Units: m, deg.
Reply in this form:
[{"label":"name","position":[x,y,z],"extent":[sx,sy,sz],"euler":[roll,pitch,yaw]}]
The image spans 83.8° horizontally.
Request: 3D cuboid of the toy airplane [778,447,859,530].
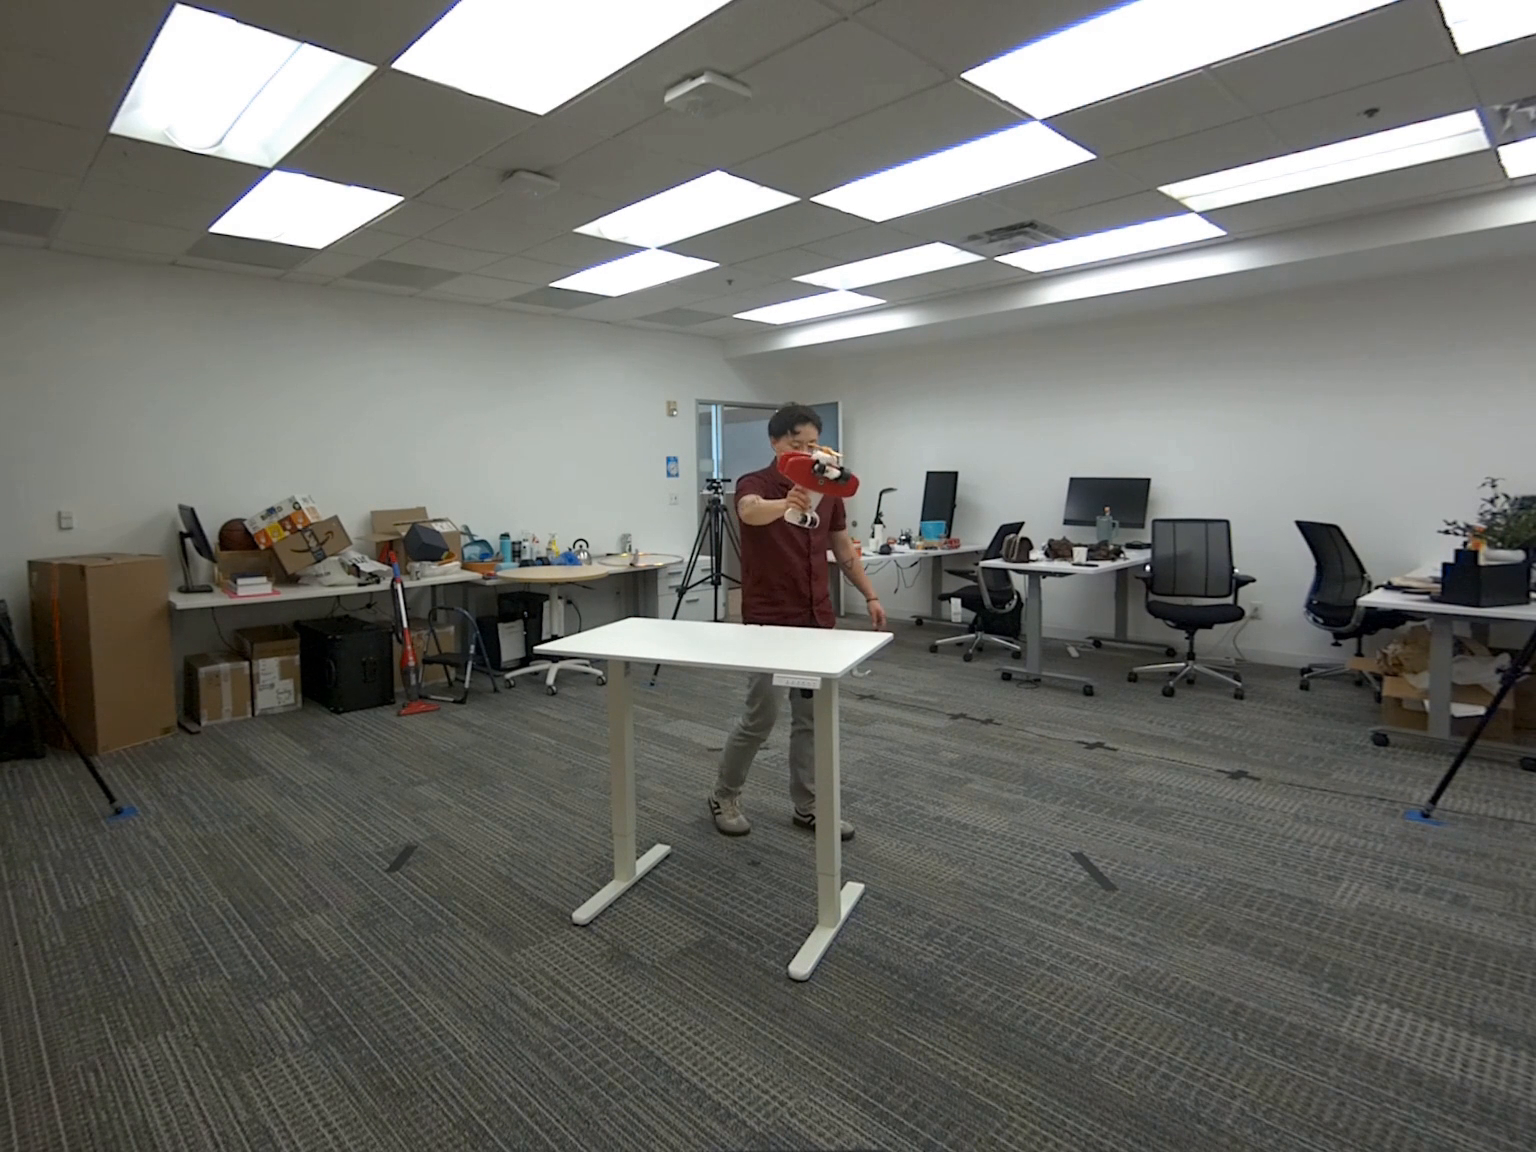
[{"label":"toy airplane","position":[0.137,-0.285,2.702],"extent":[0.260,0.242,0.161],"euler":[-39,31,13]}]
